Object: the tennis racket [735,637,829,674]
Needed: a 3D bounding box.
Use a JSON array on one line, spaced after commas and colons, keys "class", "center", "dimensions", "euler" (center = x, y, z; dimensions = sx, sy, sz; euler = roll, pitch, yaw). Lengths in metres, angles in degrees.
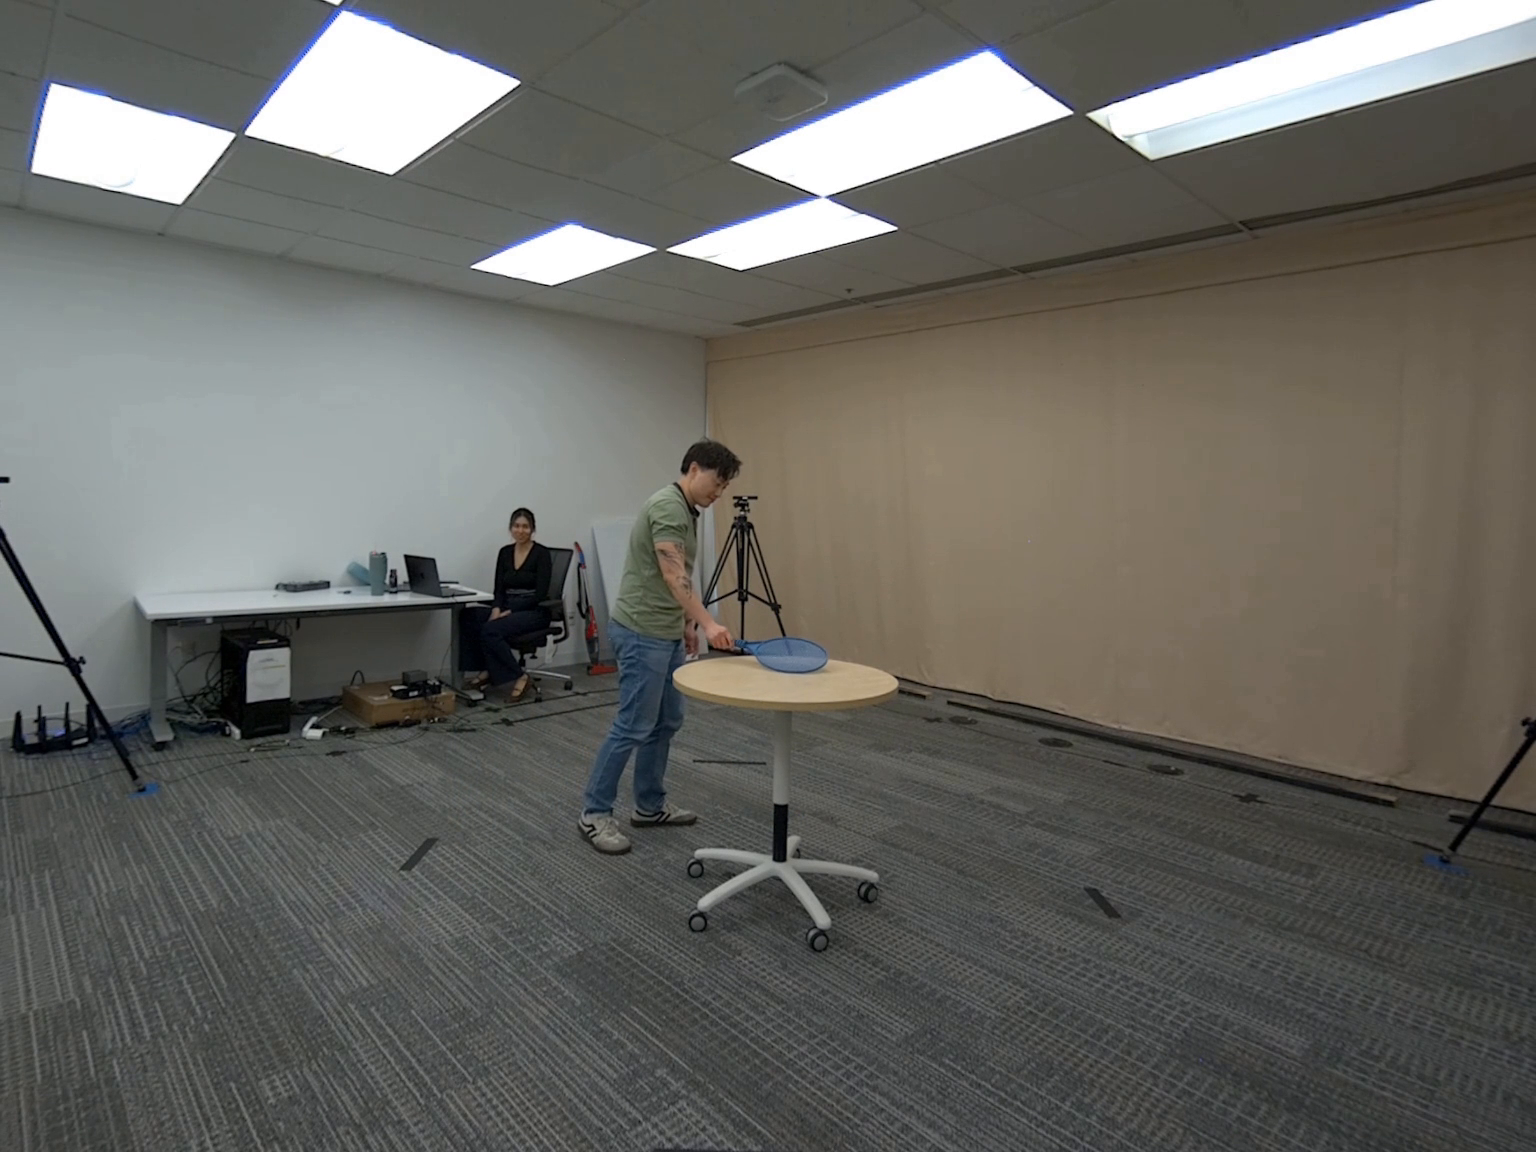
[{"class": "tennis racket", "center": [0.000, 0.276, 3.041], "dimensions": [0.440, 0.031, 0.214], "euler": [10, 30, 20]}]
